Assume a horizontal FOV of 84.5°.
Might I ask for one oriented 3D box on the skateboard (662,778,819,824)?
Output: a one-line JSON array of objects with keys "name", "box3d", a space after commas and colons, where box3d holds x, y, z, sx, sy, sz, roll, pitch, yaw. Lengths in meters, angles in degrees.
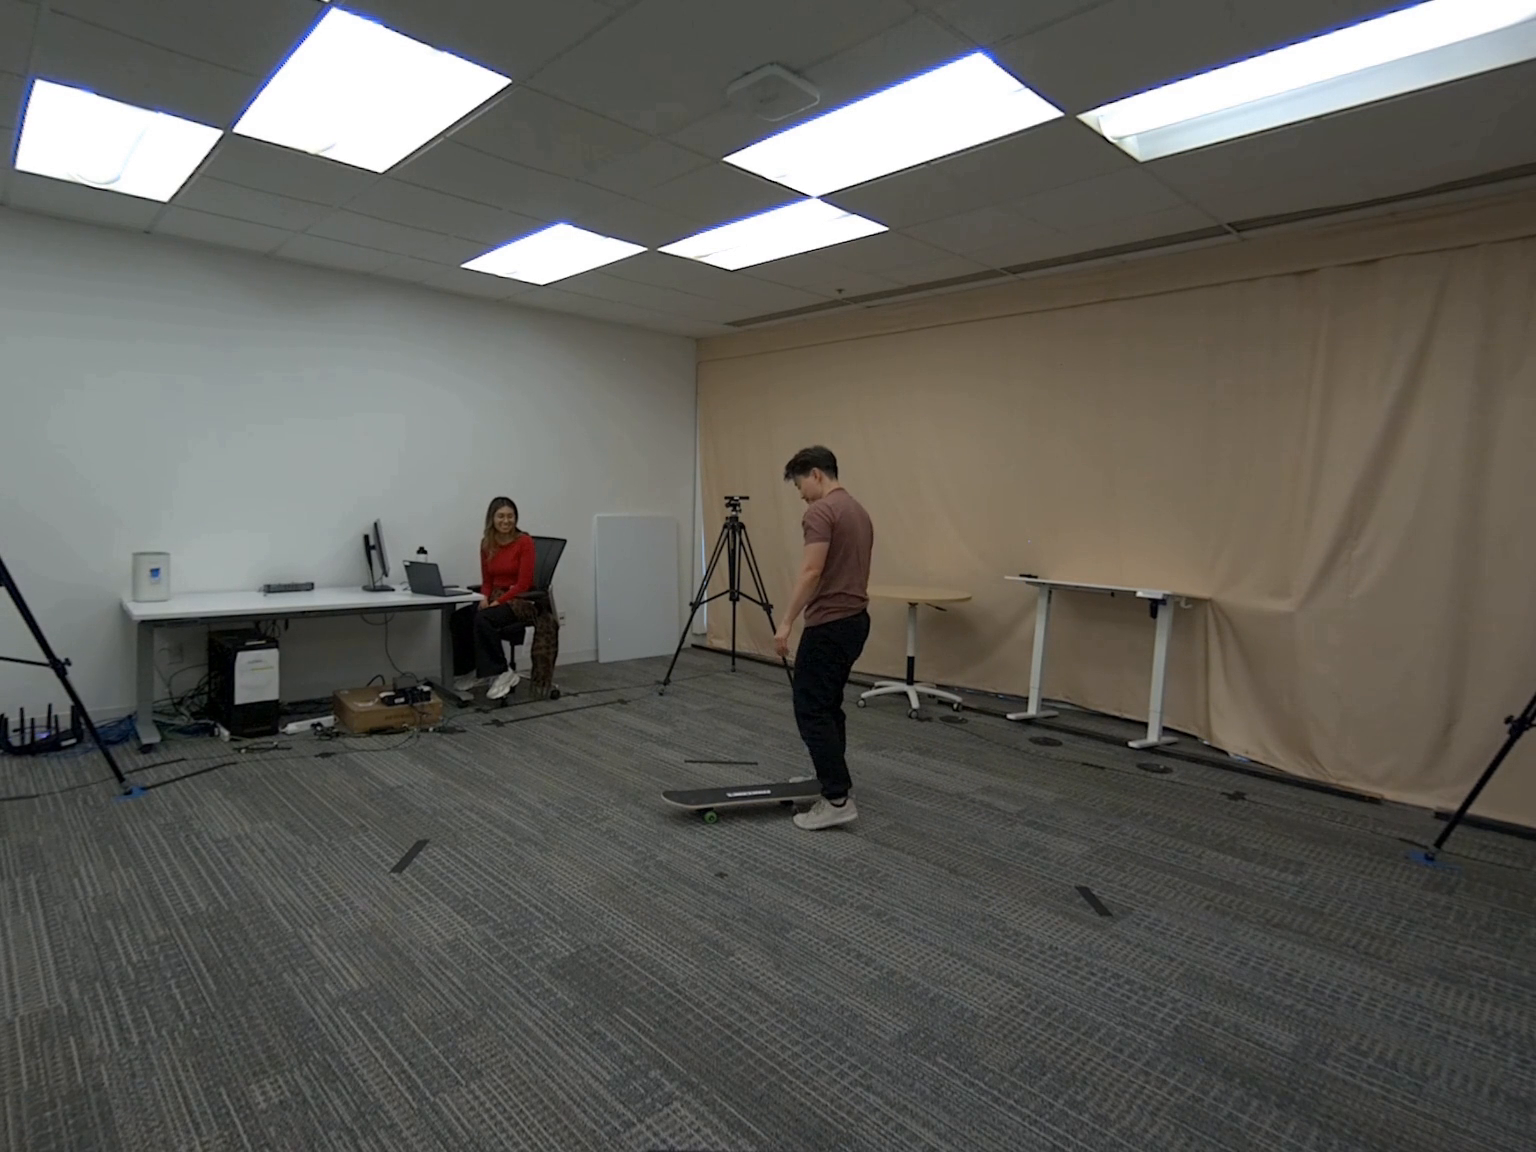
[{"name": "skateboard", "box3d": [-0.093, 0.993, 3.733, 0.775, 0.110, 0.196, 0, 5, -18]}]
